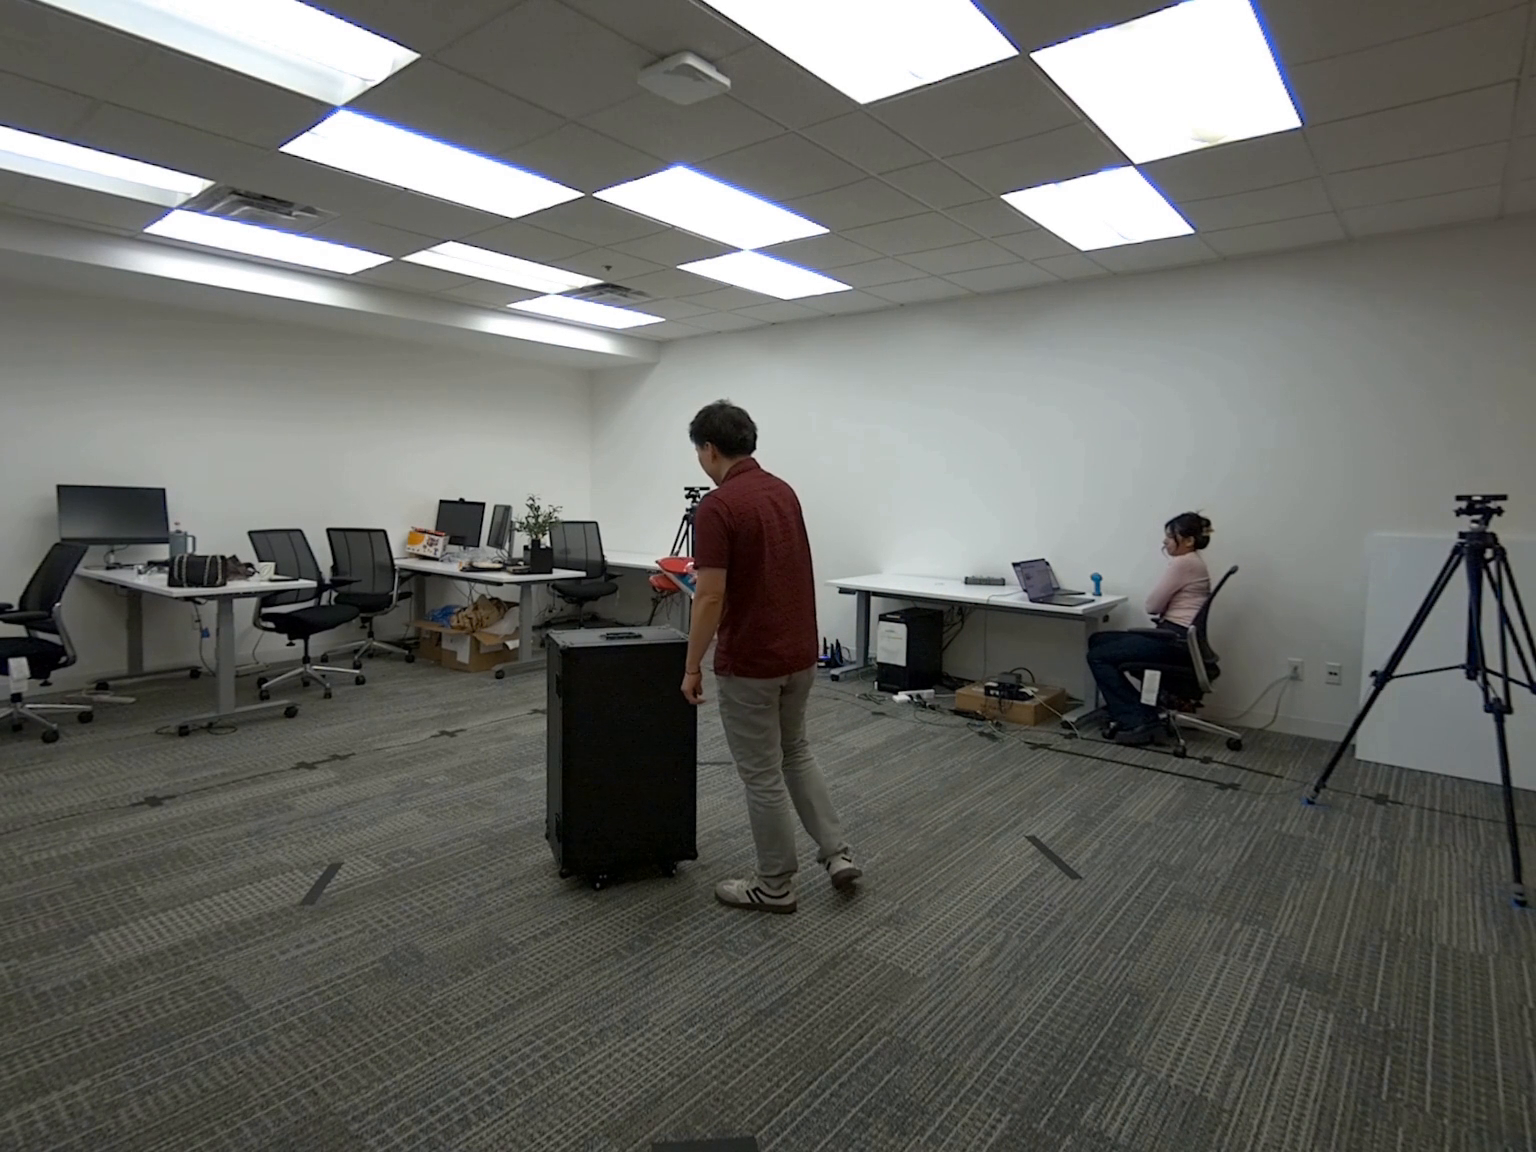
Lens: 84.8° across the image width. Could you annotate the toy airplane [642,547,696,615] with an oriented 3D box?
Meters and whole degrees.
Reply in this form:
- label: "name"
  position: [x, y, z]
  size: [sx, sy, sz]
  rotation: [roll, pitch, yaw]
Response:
- label: "toy airplane"
  position: [-0.306, 0.021, 3.202]
  size: [0.262, 0.155, 0.250]
  rotation: [17, 12, 7]
